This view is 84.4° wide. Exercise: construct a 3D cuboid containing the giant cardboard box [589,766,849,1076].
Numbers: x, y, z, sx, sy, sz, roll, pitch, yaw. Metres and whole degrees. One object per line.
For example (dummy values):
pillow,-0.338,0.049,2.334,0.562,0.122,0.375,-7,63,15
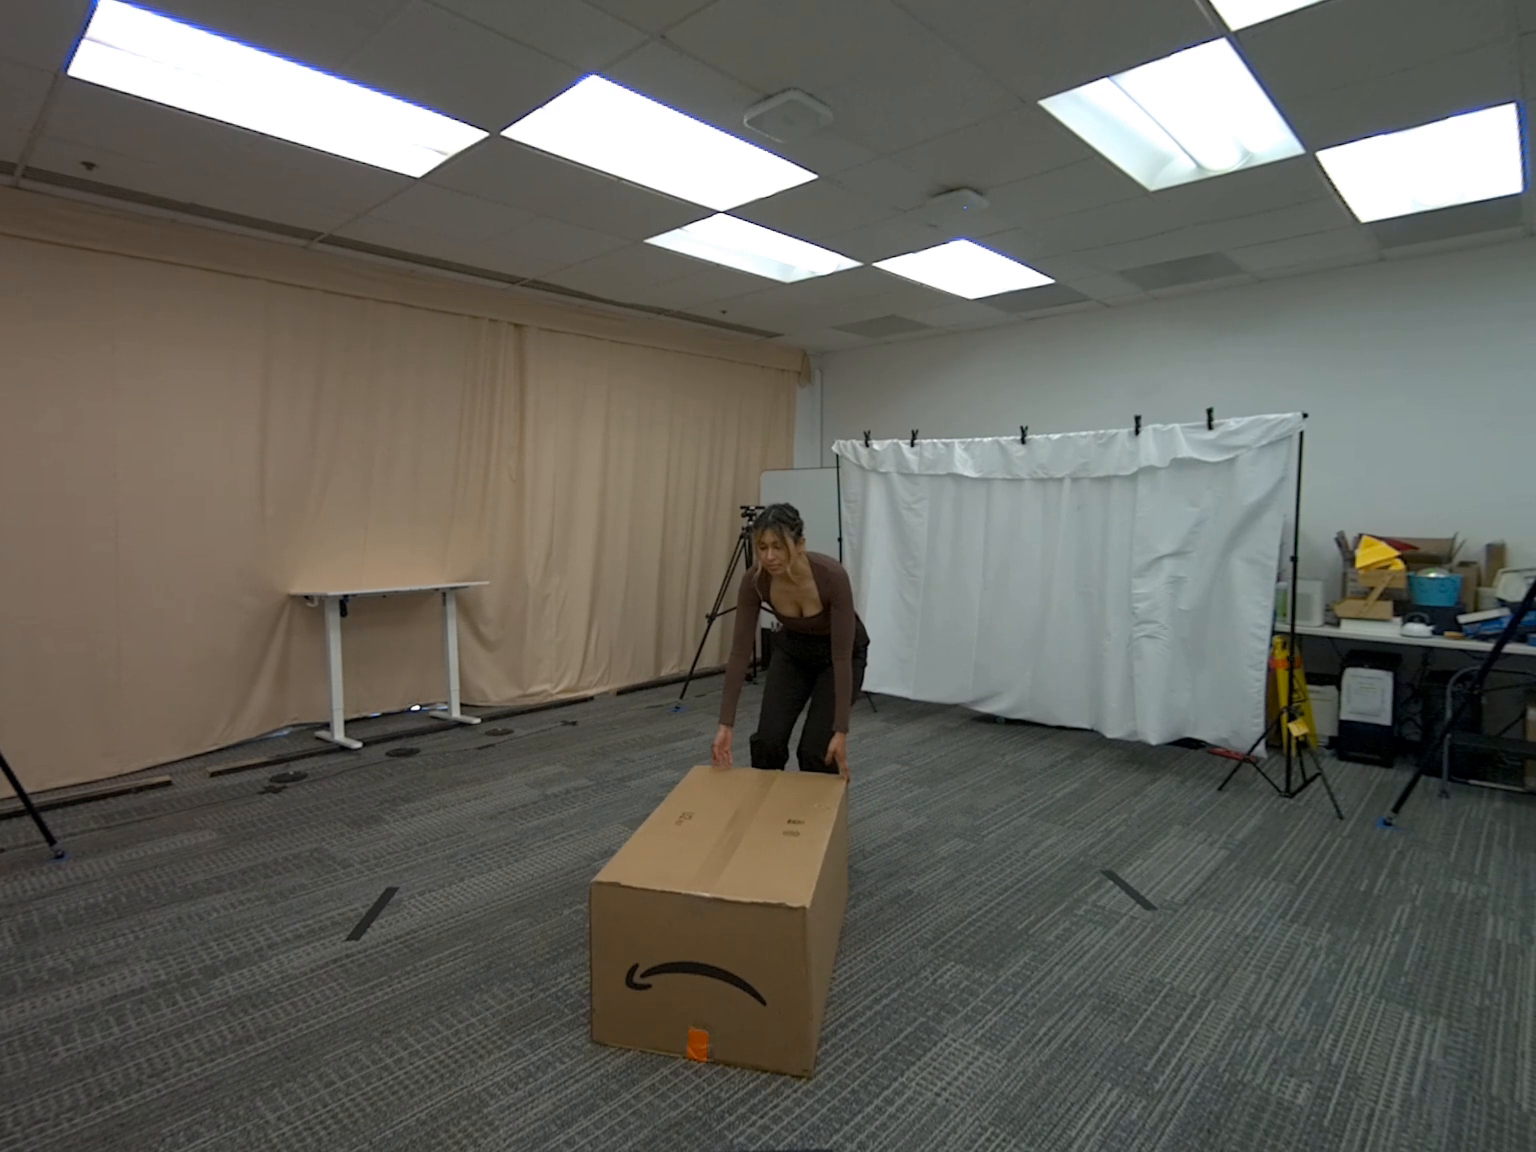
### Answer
giant cardboard box,-0.087,0.963,2.594,0.592,0.446,1.014,0,4,12
